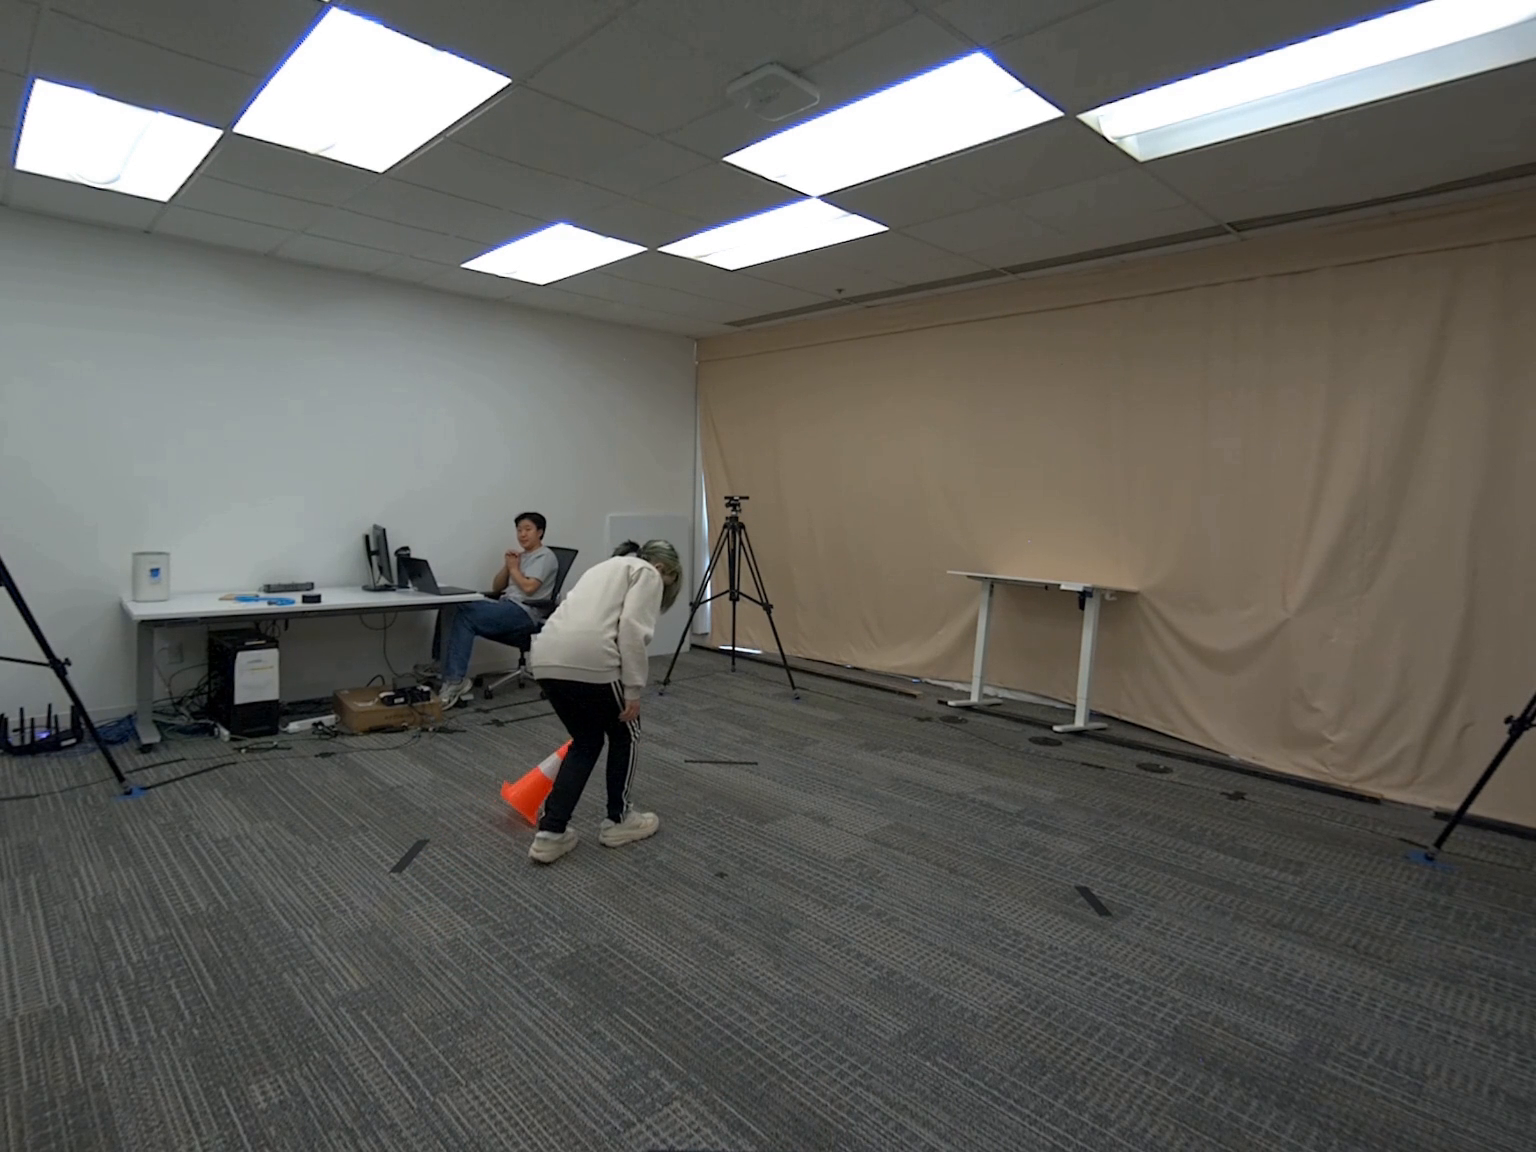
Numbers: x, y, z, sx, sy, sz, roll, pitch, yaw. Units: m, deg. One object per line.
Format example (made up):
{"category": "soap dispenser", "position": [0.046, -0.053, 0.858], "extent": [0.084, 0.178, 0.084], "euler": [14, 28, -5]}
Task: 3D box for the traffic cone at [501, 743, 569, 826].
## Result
{"category": "traffic cone", "position": [-0.939, 0.834, 3.608], "extent": [0.202, 0.383, 0.207], "euler": [44, -7, -9]}
